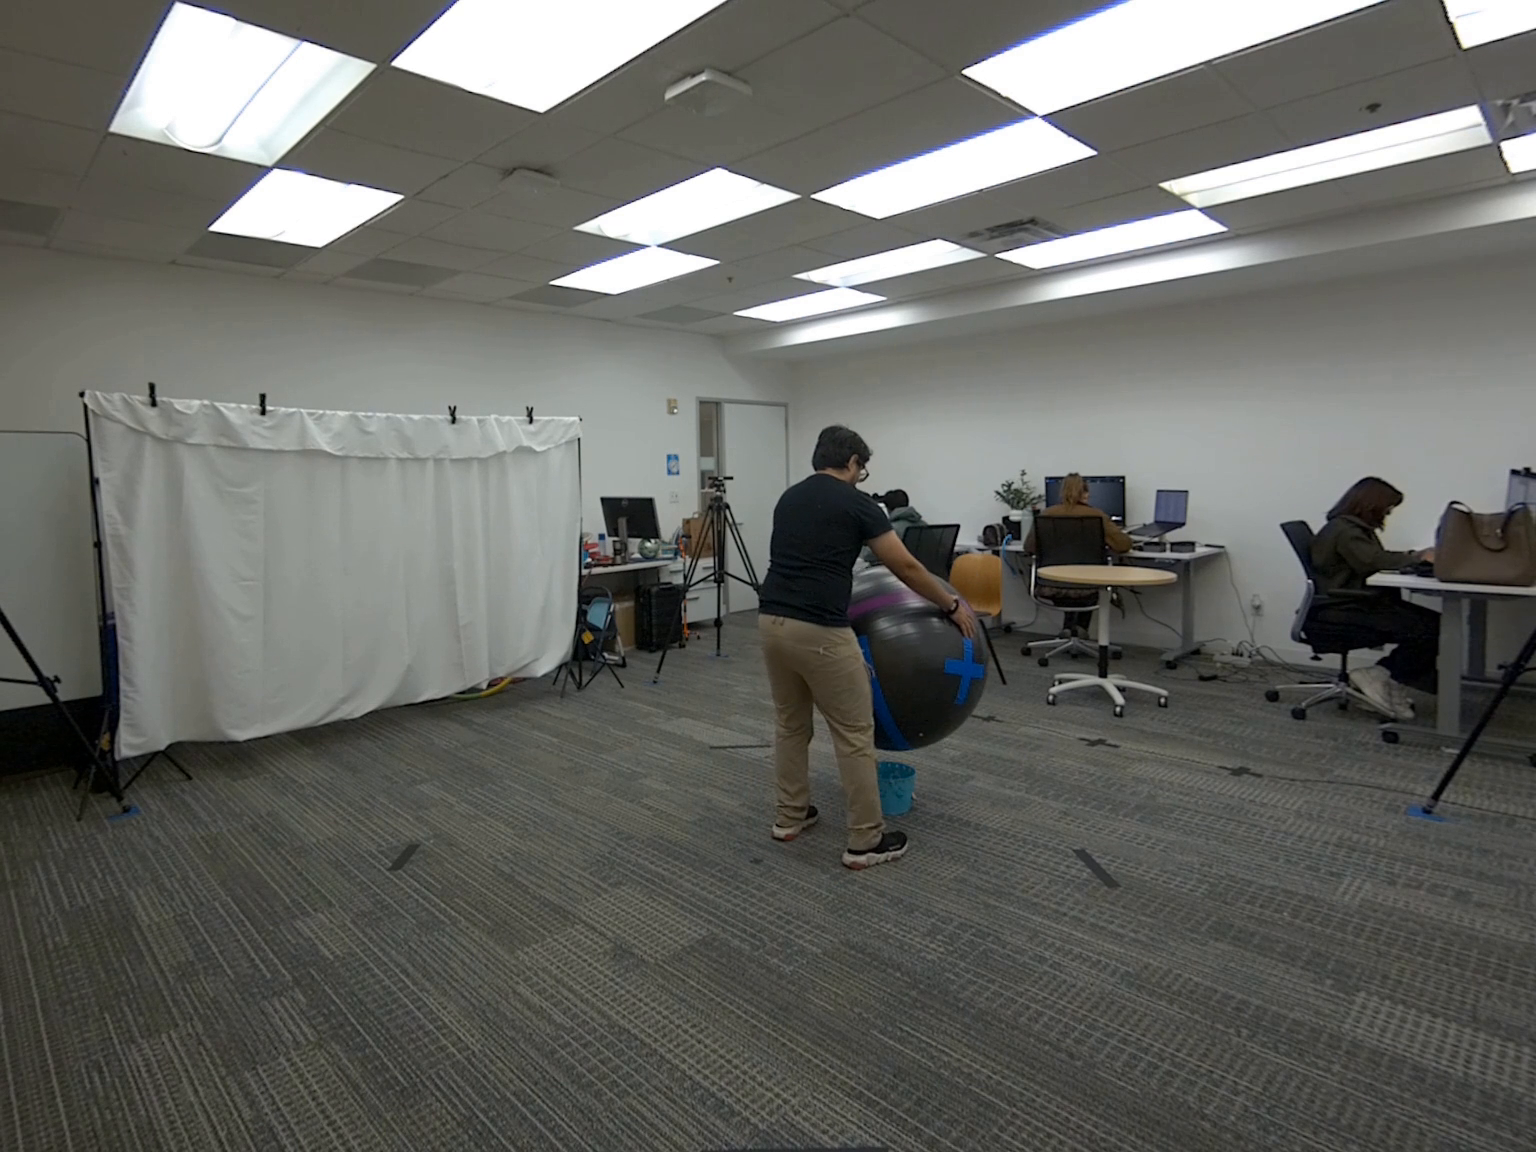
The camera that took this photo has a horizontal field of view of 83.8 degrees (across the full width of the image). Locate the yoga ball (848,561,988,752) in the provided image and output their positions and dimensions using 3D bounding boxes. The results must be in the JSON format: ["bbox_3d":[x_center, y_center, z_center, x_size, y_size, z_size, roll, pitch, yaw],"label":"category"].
[{"bbox_3d":[0.527,0.337,3.543,0.757,0.755,0.762,-1,5,-2],"label":"yoga ball"}]
